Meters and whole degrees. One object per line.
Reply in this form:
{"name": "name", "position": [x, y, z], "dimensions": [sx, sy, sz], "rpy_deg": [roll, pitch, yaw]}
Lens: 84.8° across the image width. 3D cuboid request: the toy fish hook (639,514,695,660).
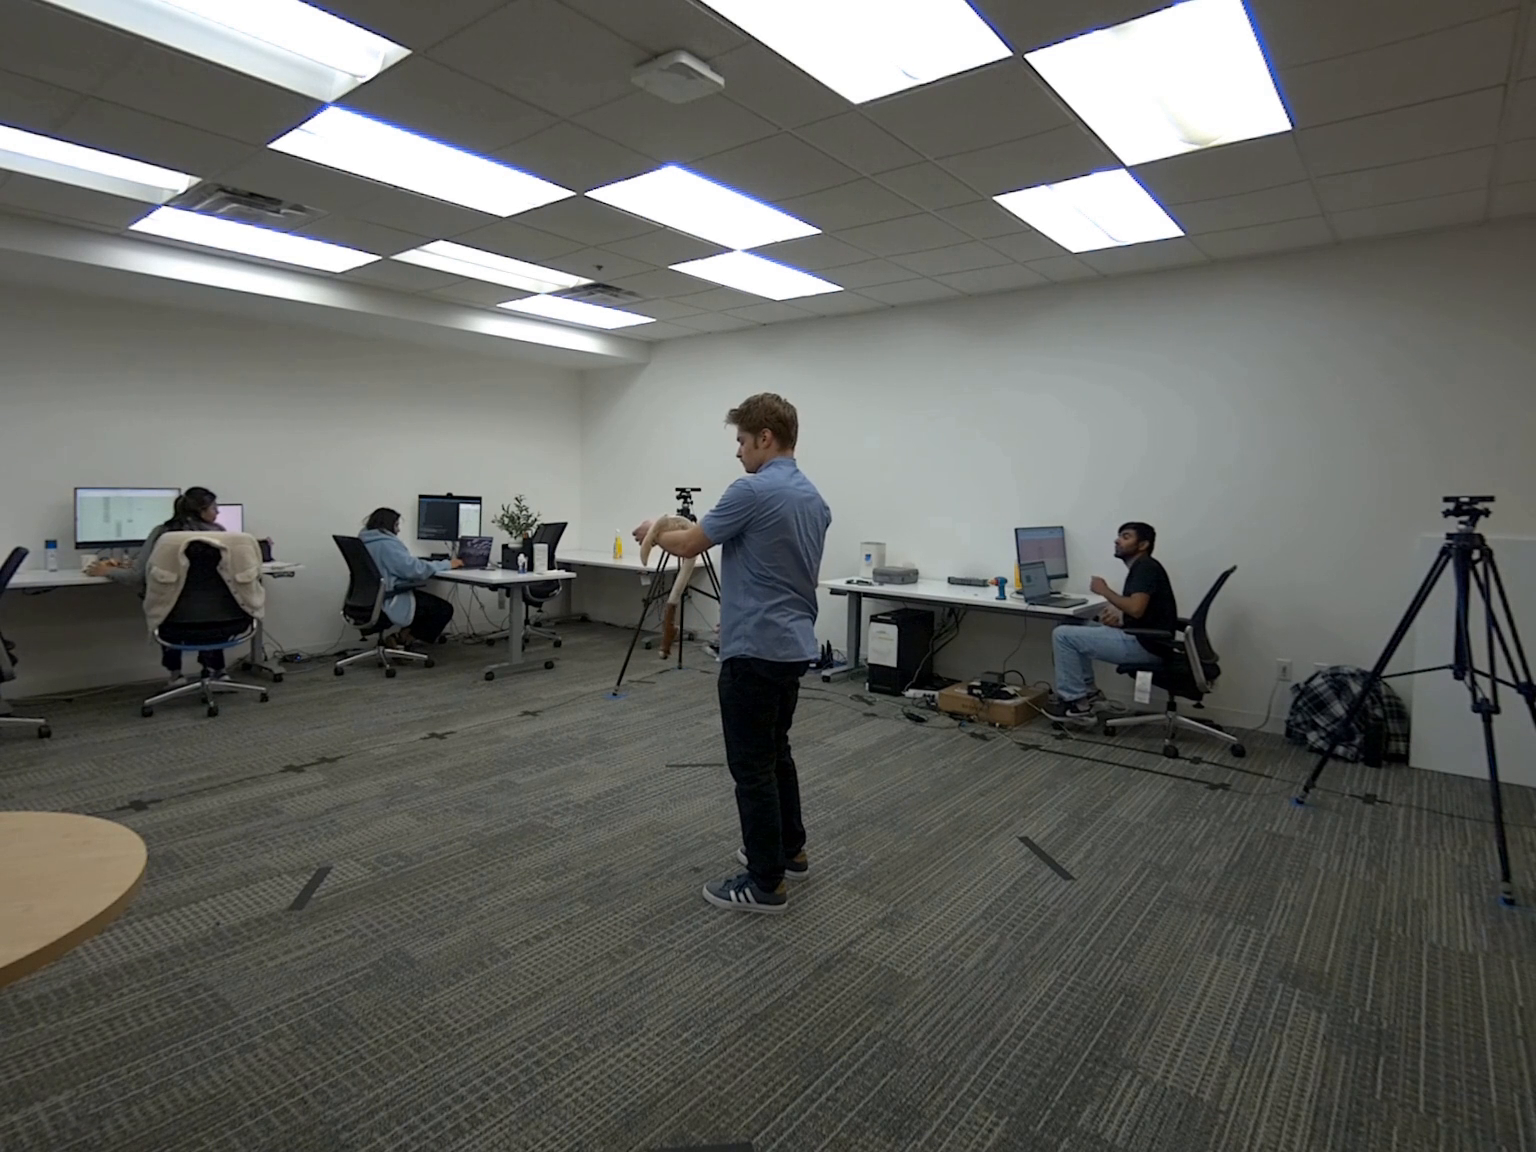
{"name": "toy fish hook", "position": [-0.382, 0.038, 2.987], "dimensions": [0.218, 0.508, 0.049], "rpy_deg": [9, -3, -25]}
